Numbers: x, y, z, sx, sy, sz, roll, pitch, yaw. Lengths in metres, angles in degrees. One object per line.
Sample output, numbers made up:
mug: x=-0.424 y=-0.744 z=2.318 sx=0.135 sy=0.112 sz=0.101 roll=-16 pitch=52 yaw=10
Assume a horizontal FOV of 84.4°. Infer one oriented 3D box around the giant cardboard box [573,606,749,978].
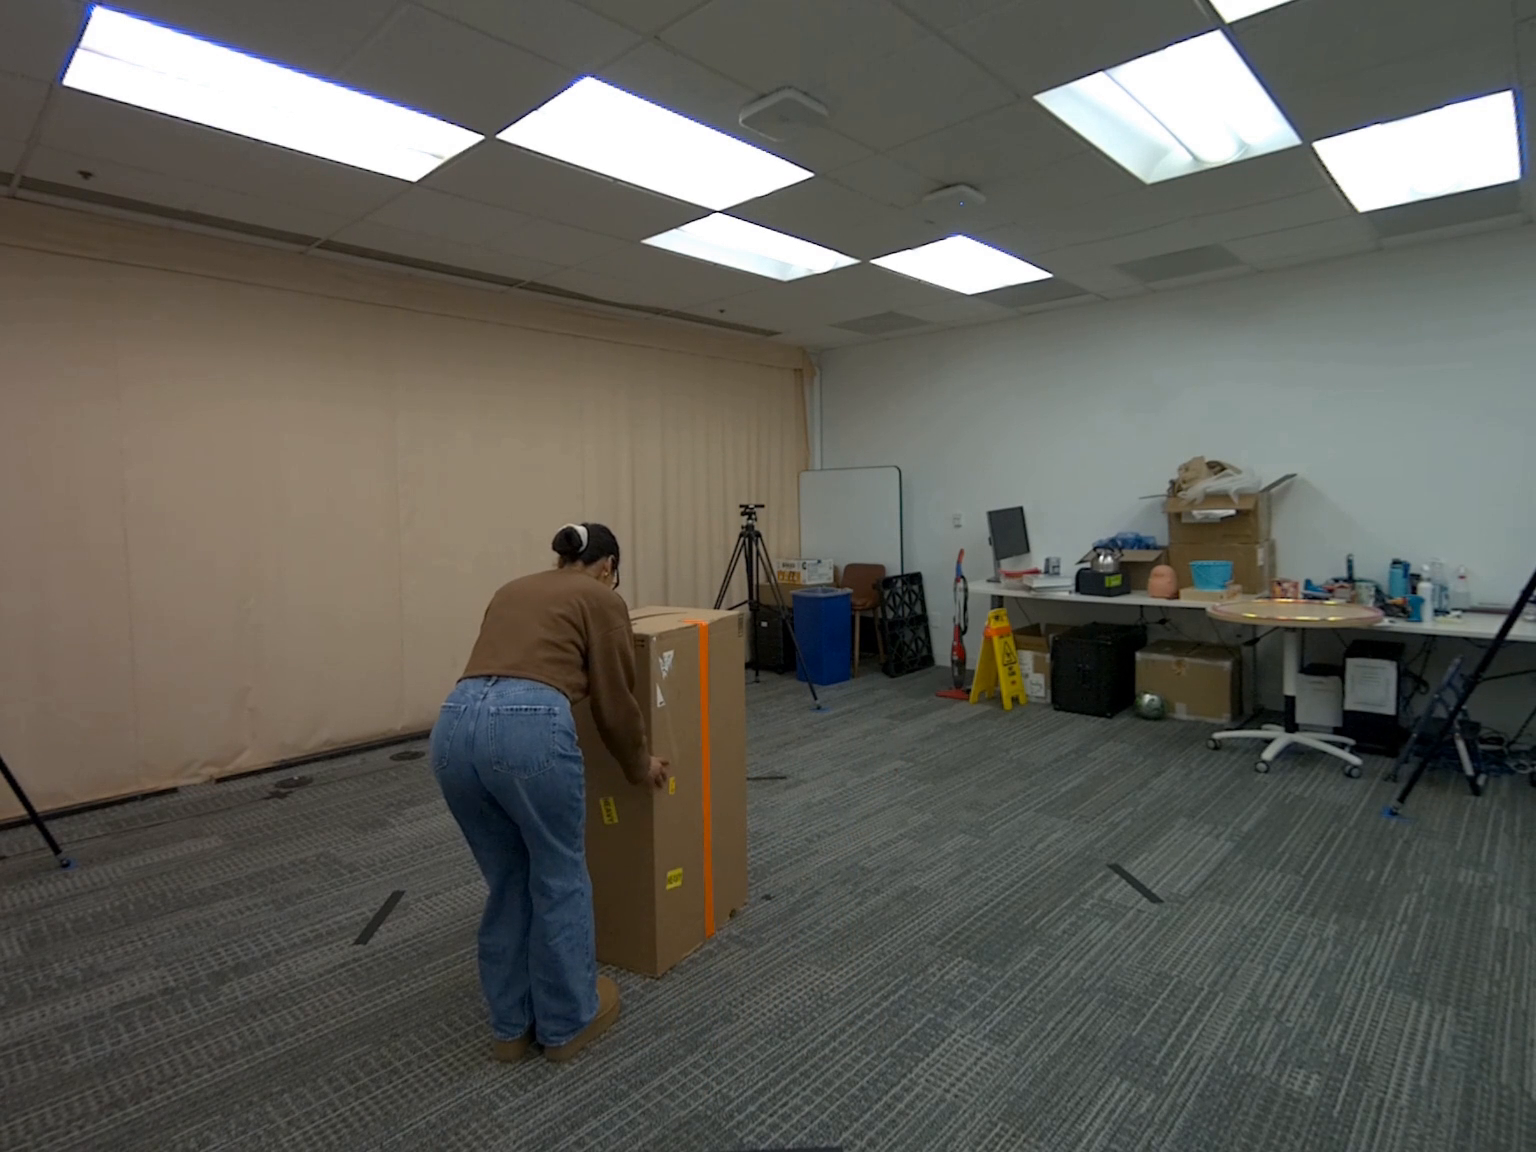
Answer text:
giant cardboard box: x=-0.386 y=0.656 z=2.806 sx=0.438 sy=1.024 sz=0.562 roll=1 pitch=3 yaw=29
